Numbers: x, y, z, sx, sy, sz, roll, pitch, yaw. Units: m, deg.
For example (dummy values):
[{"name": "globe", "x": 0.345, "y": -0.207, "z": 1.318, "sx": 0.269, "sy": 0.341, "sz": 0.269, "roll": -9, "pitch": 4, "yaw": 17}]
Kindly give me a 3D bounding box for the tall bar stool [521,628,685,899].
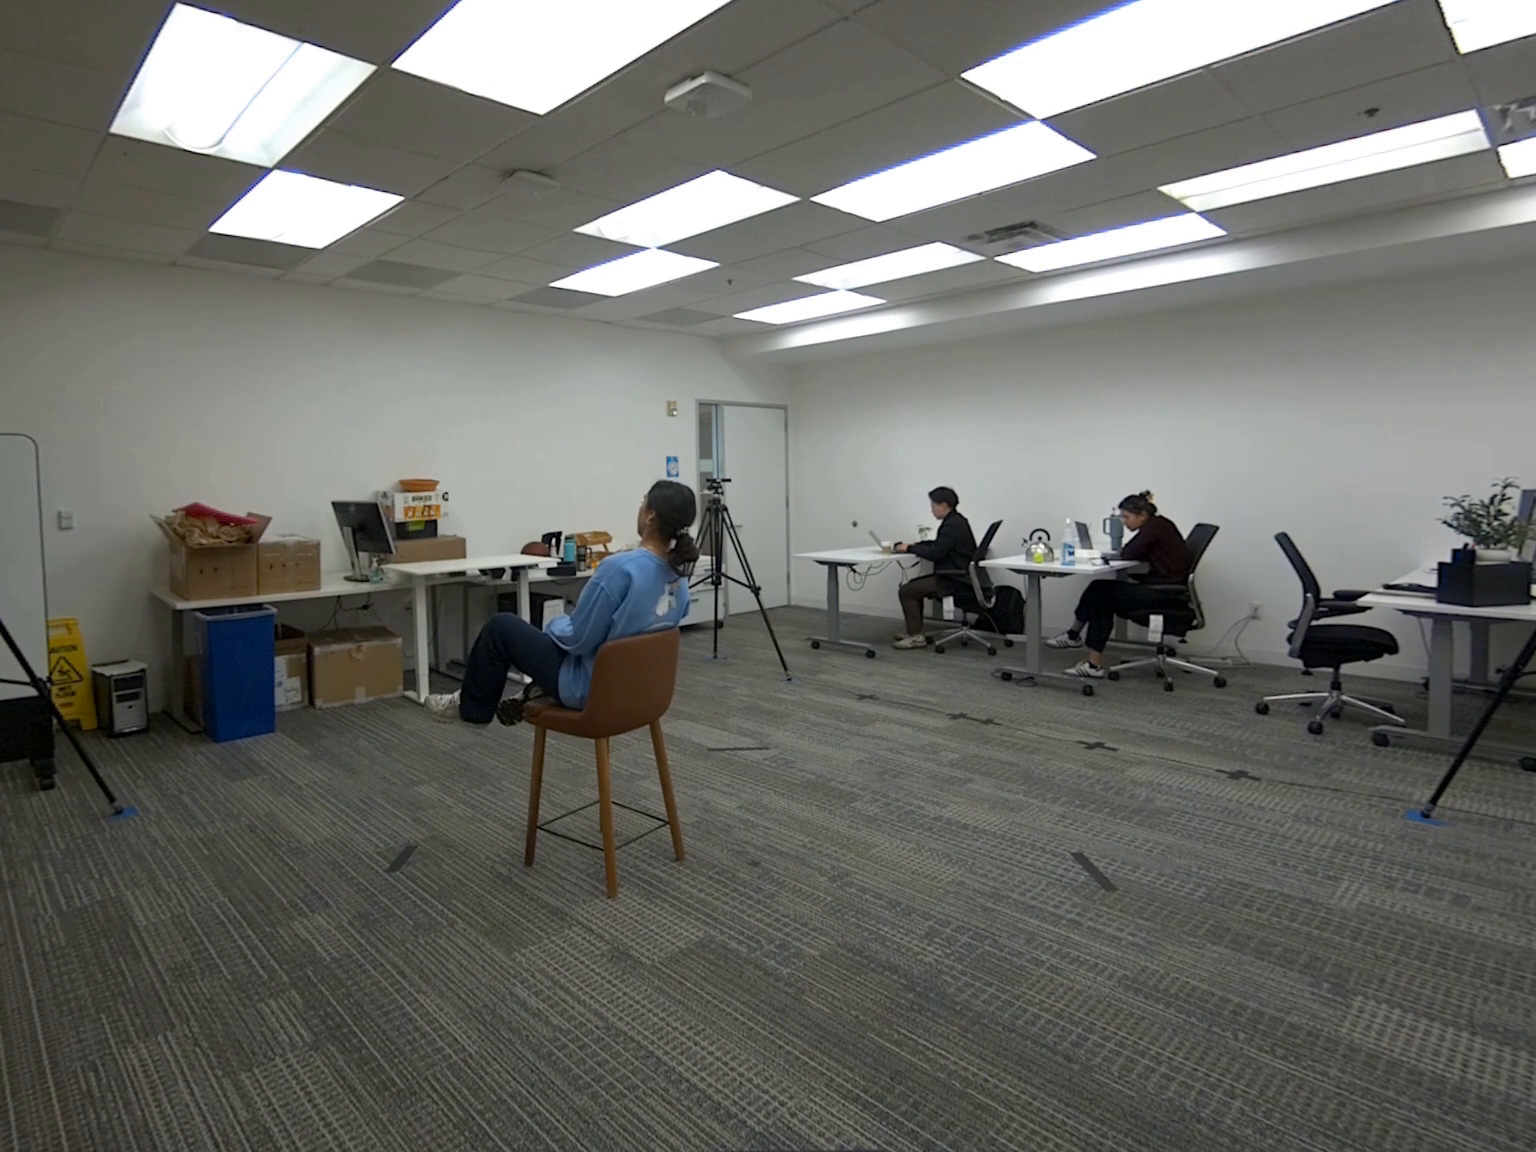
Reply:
[{"name": "tall bar stool", "x": -0.594, "y": 0.619, "z": 3.111, "sx": 0.482, "sy": 0.885, "sz": 0.445, "roll": 5, "pitch": 7, "yaw": 37}]
